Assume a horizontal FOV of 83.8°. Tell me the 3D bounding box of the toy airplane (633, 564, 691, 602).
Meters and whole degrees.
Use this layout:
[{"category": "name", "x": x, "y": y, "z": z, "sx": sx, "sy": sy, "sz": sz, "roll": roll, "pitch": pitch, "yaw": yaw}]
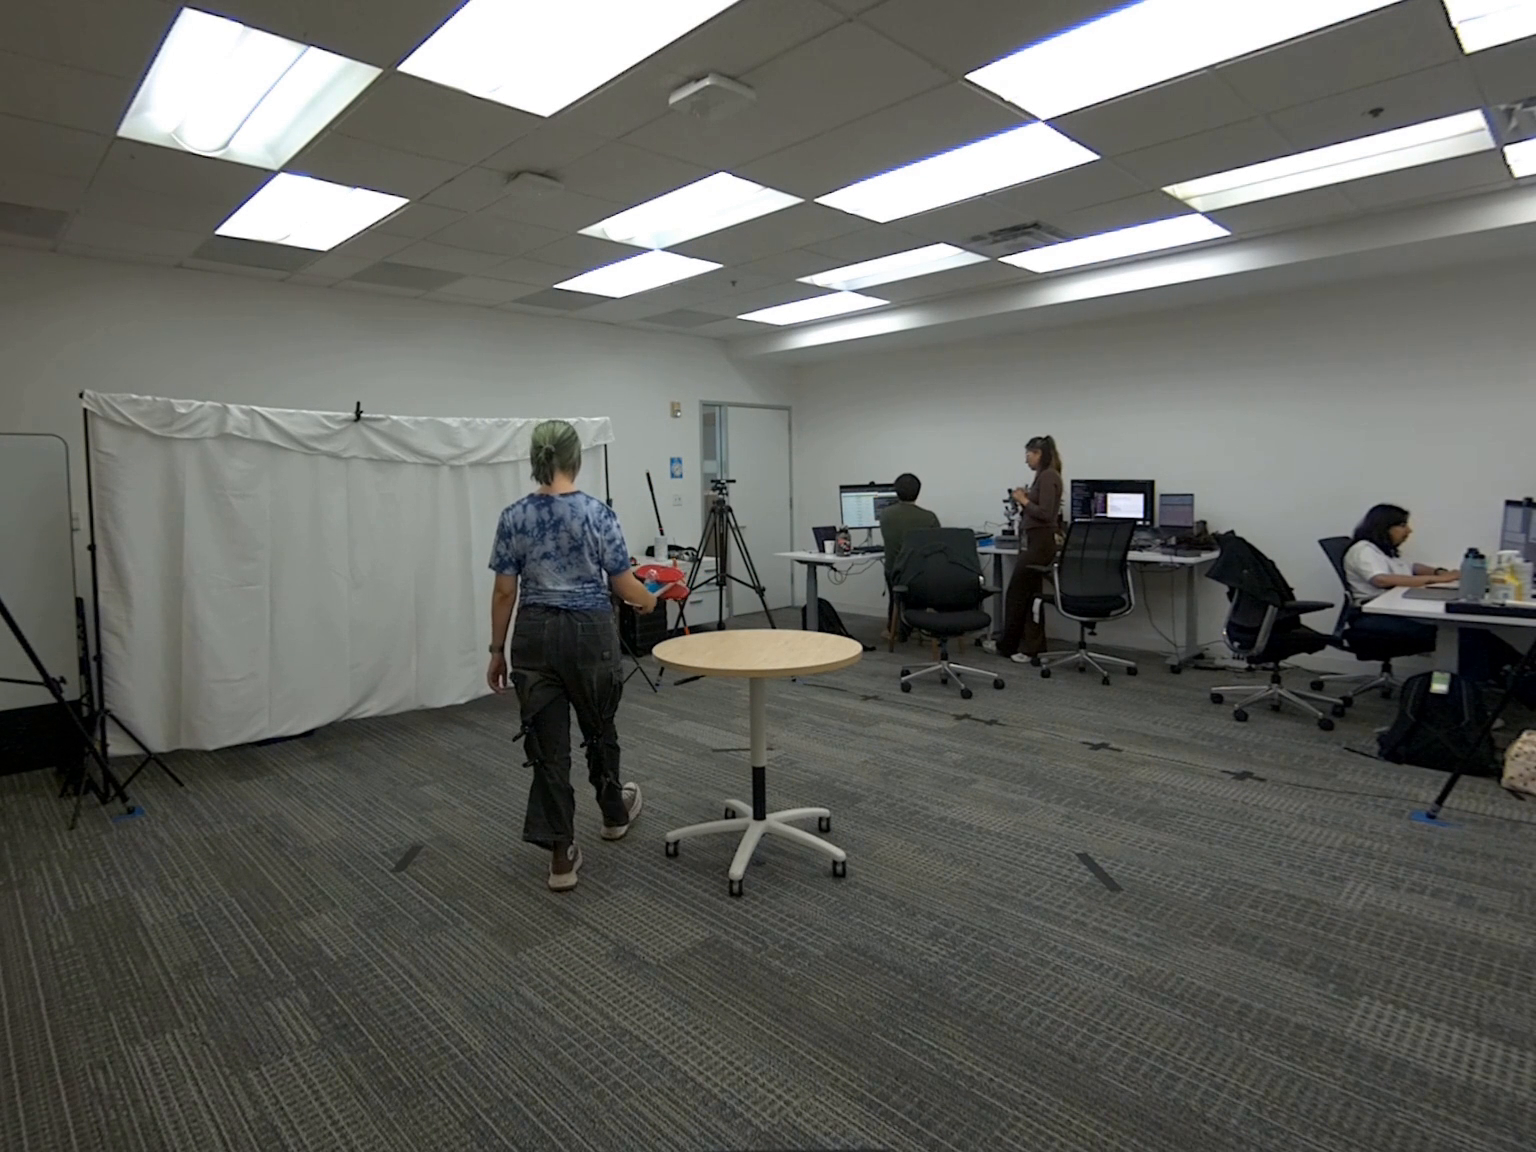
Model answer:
[{"category": "toy airplane", "x": -0.439, "y": 0.053, "z": 3.455, "sx": 0.255, "sy": 0.154, "sz": 0.259, "roll": 0, "pitch": 16, "yaw": 15}]
